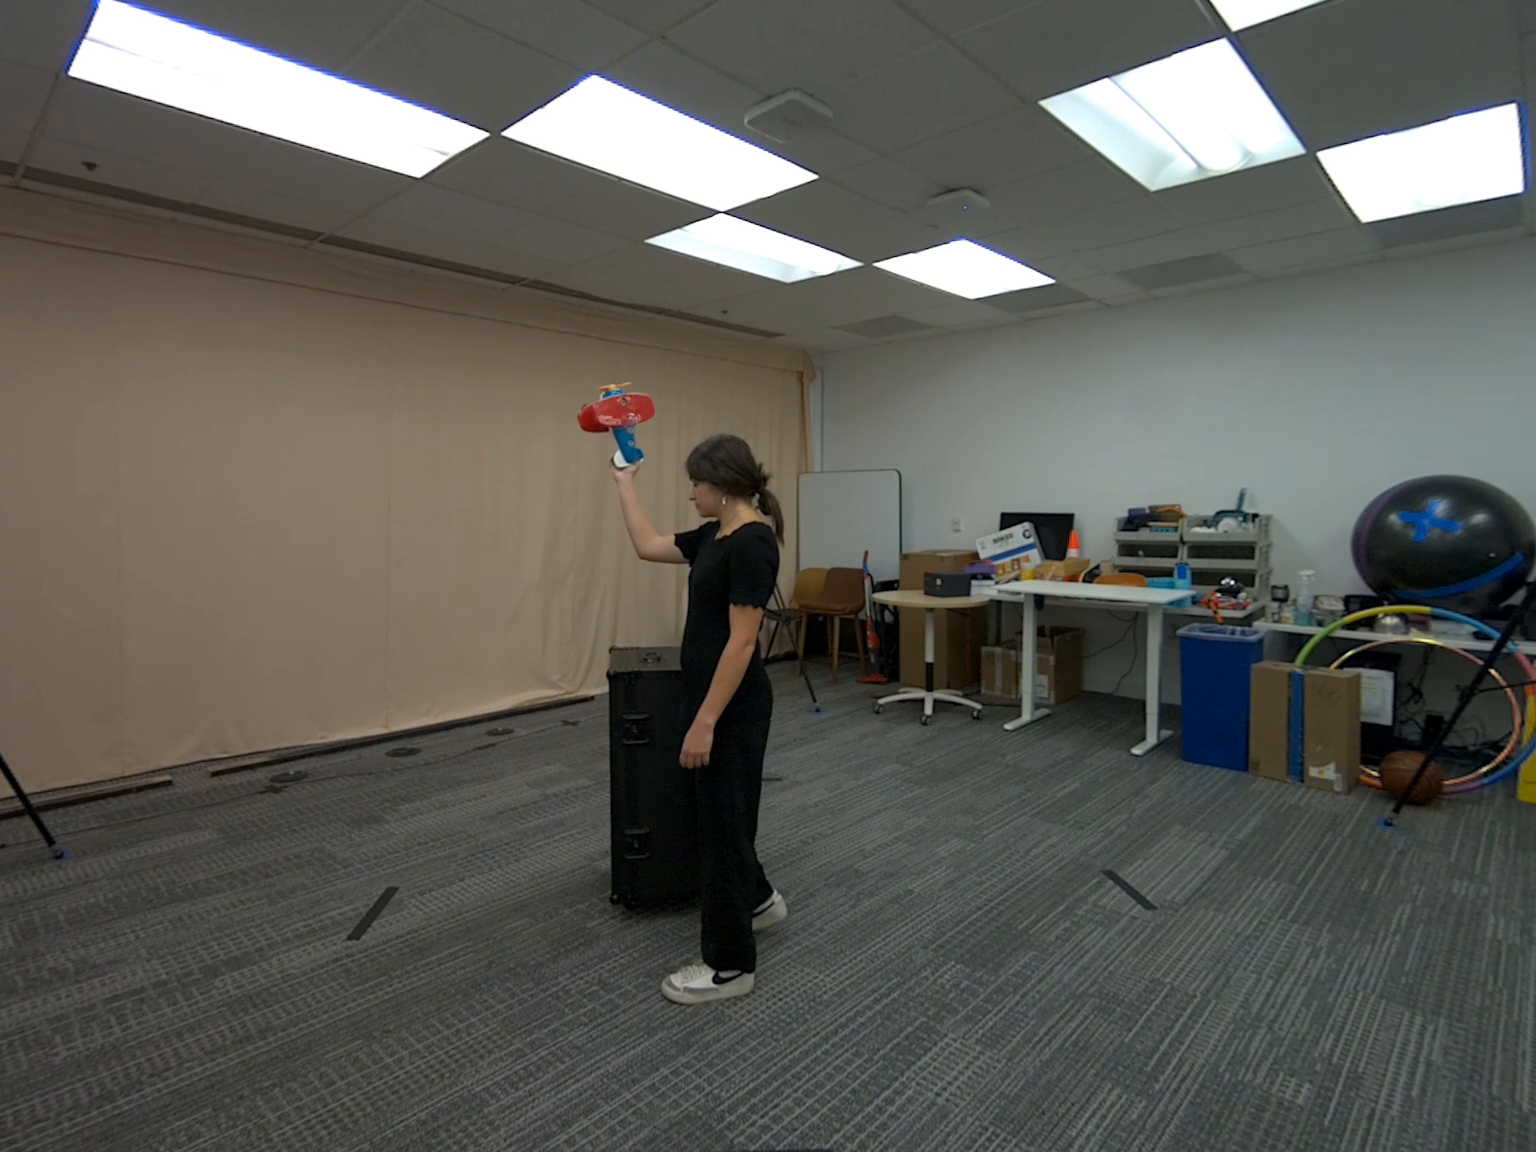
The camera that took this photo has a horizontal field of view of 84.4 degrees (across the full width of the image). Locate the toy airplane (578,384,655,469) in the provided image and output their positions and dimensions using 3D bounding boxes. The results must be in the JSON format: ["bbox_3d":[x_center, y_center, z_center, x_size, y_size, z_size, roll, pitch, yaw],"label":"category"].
[{"bbox_3d":[-0.471,-0.484,2.730,0.159,0.254,0.251,-29,23,44],"label":"toy airplane"}]
